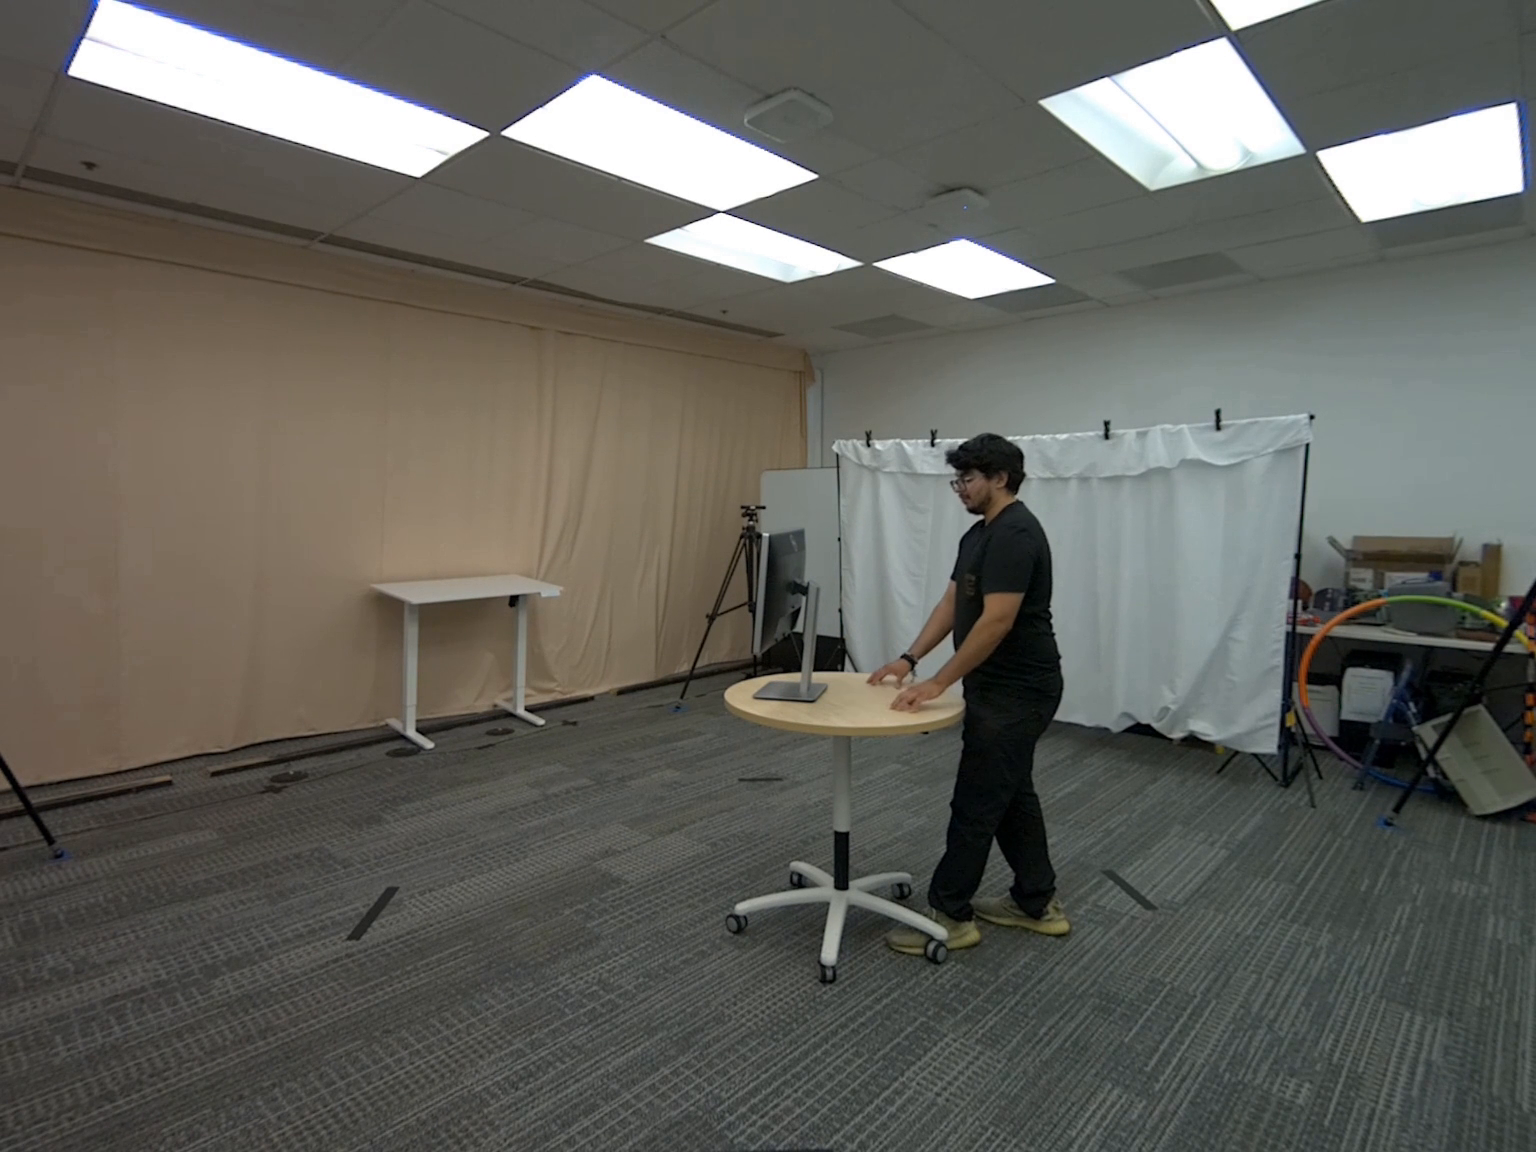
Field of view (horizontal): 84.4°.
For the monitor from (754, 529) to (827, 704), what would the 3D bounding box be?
[{"bbox_3d":[0.106,0.129,2.736,0.213,0.552,0.557,4,5,13],"label":"monitor"}]
